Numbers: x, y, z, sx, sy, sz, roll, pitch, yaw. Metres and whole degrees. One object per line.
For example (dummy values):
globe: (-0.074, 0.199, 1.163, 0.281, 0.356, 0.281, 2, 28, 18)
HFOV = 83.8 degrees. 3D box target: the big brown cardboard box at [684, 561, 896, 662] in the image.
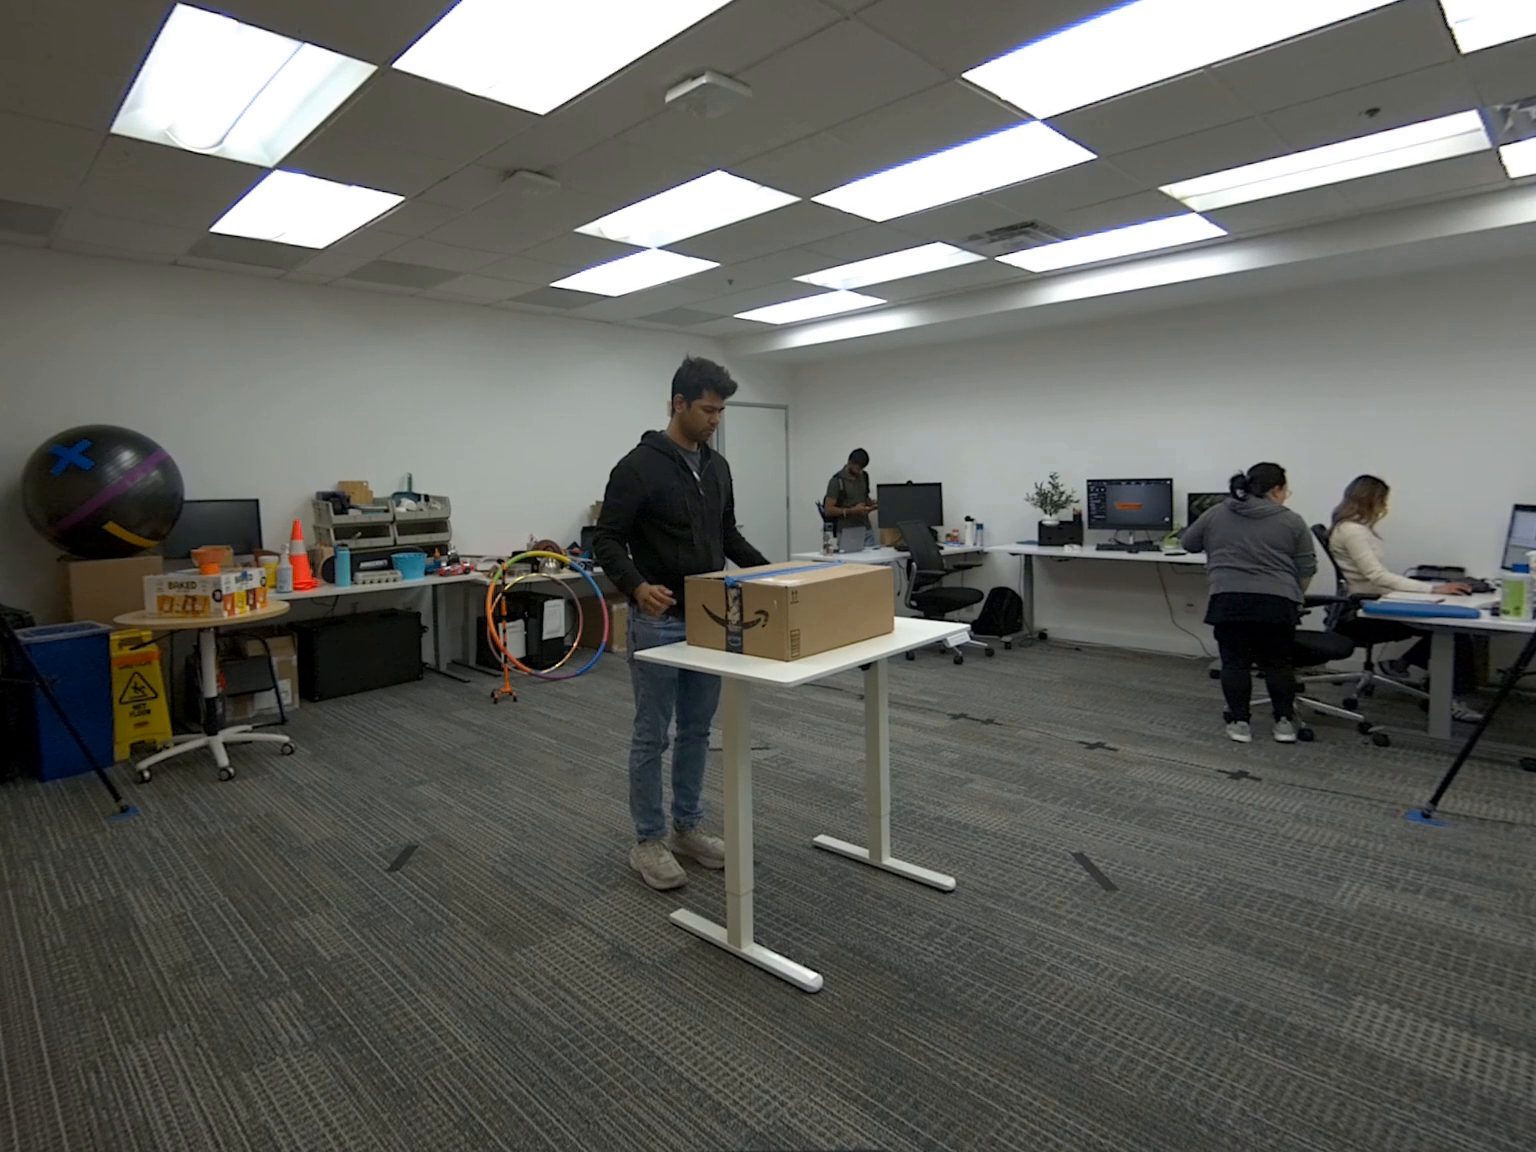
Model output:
big brown cardboard box: (0.074, 0.093, 2.738, 0.430, 0.232, 0.573, 4, 7, 42)
